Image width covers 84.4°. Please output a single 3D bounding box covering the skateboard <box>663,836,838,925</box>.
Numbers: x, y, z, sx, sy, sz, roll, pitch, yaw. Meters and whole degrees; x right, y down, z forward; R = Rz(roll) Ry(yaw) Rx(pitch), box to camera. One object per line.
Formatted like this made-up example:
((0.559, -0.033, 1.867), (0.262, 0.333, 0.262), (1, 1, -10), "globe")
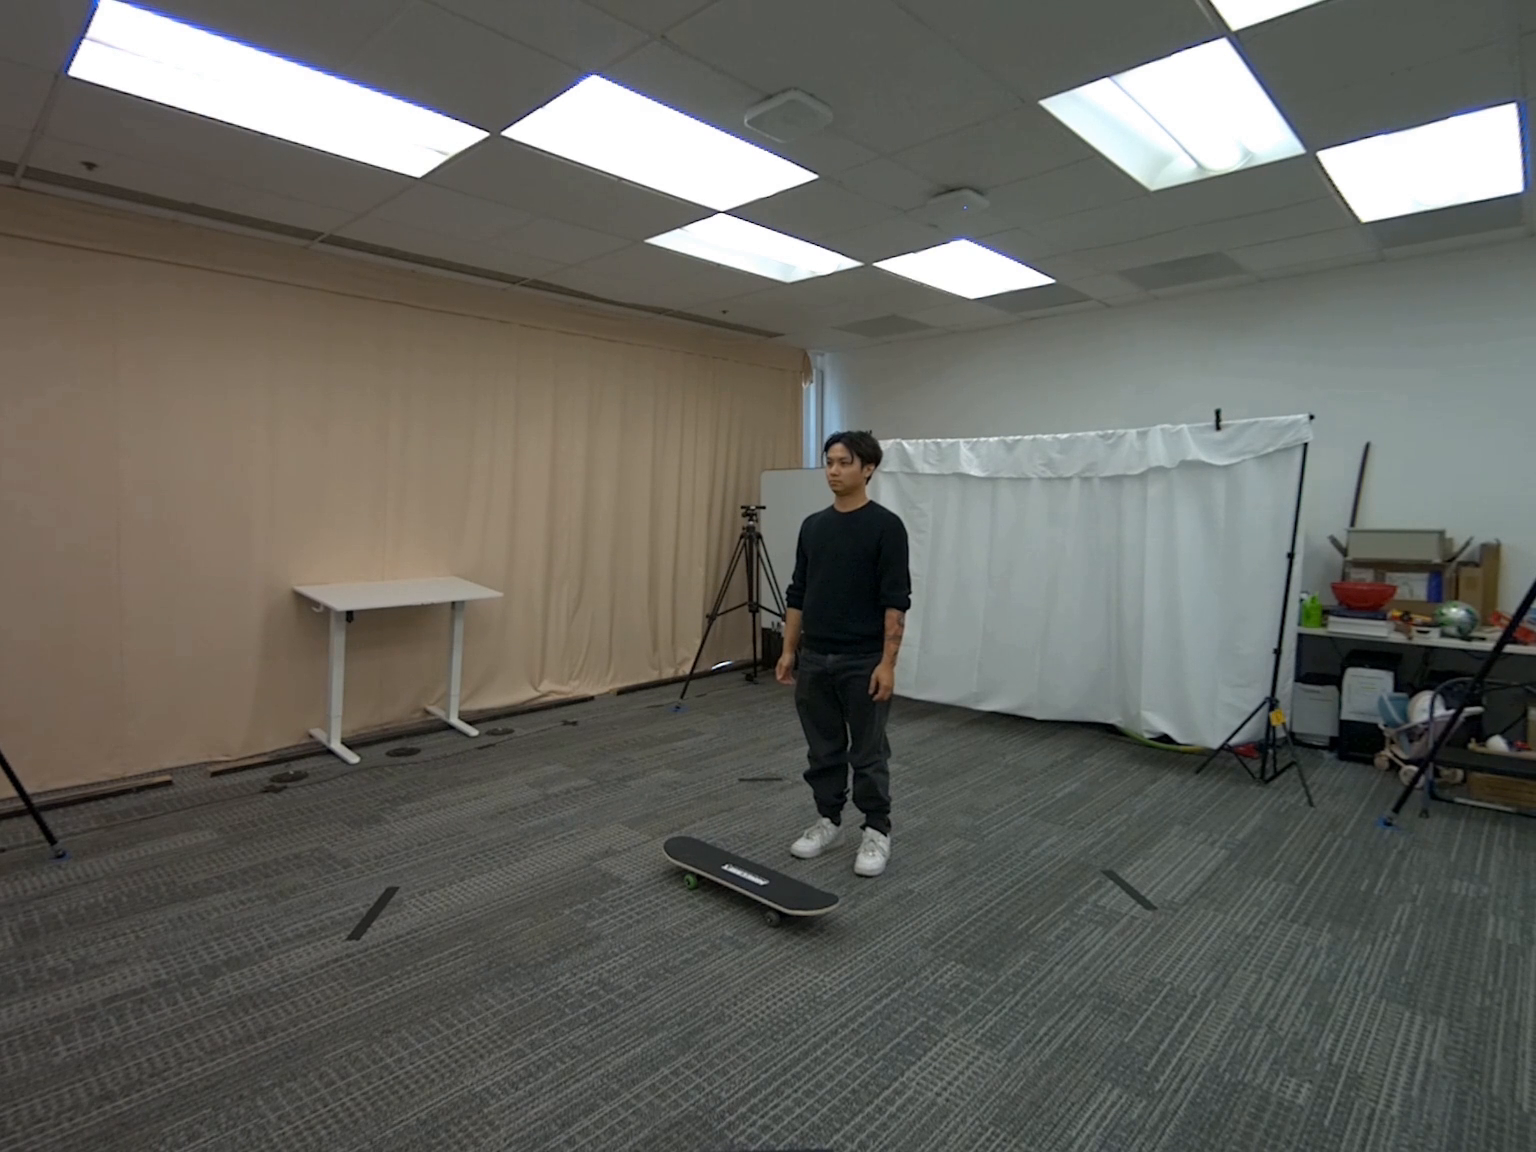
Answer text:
((-0.077, 1.085, 2.983), (0.812, 0.110, 0.187), (4, 6, 43), "skateboard")
